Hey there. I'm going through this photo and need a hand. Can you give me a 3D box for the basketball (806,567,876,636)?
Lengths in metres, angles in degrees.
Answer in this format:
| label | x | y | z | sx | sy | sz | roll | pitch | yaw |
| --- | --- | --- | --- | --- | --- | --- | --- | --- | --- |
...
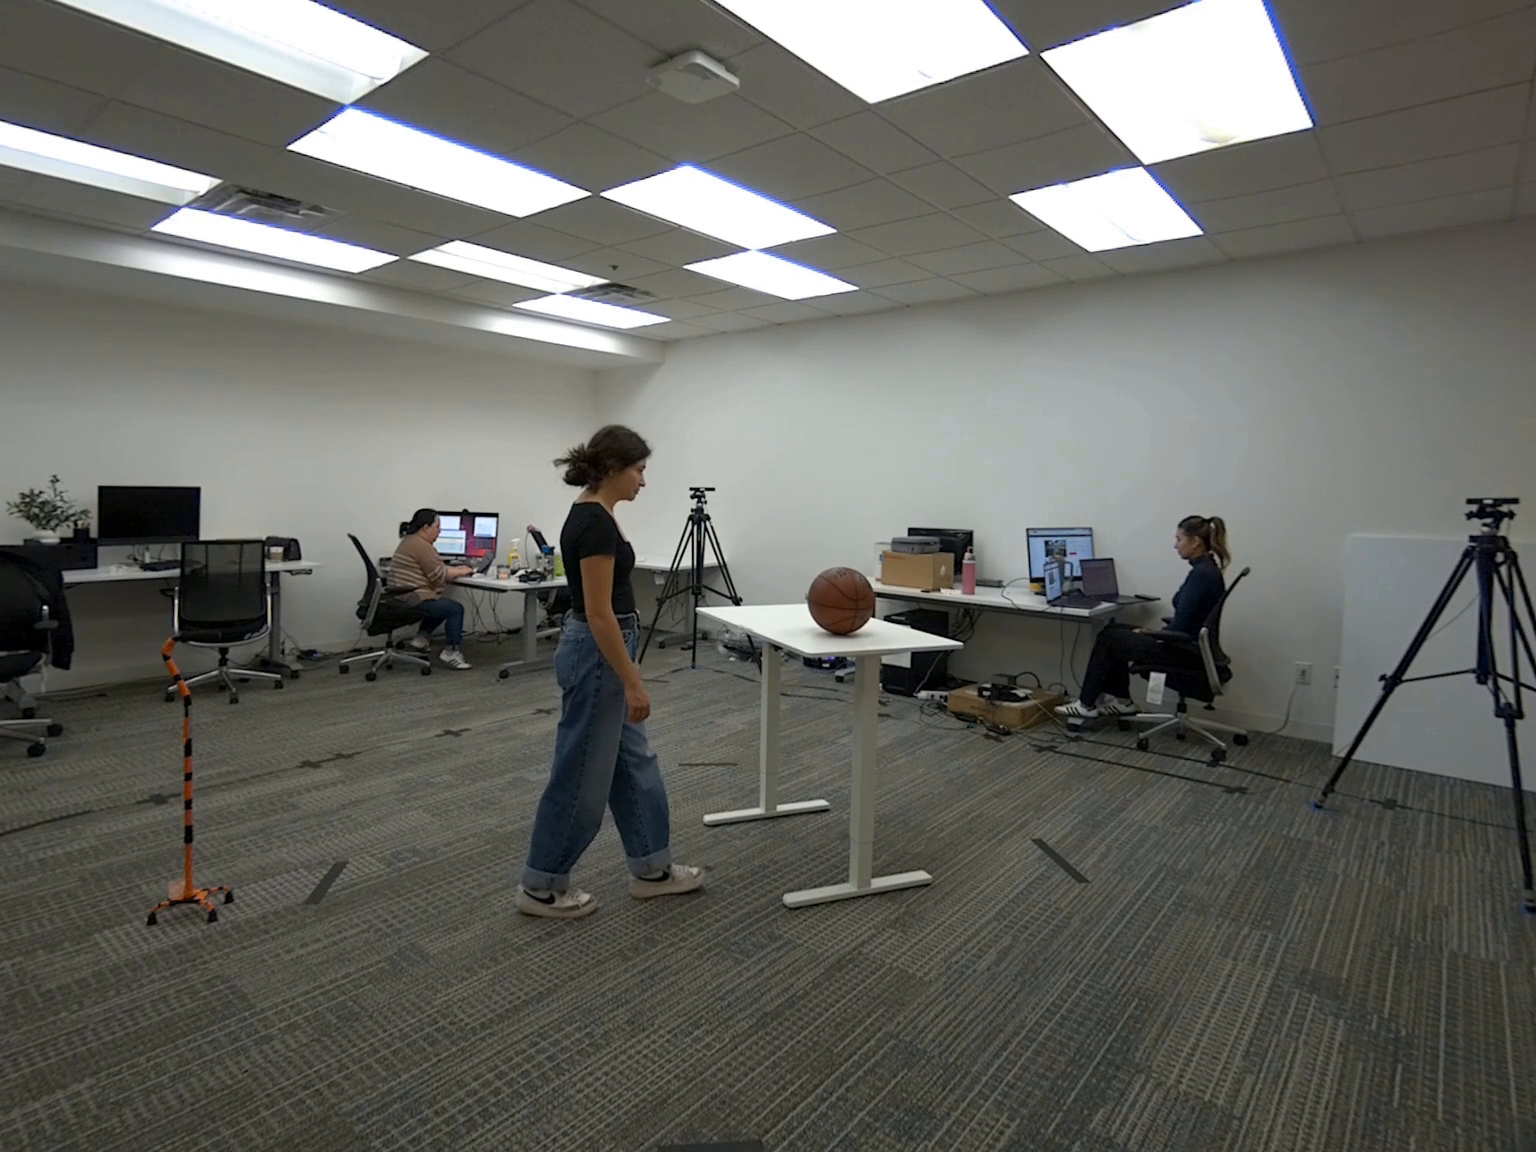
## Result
| label | x | y | z | sx | sy | sz | roll | pitch | yaw |
| --- | --- | --- | --- | --- | --- | --- | --- | --- | --- |
| basketball | 0.248 | 0.084 | 3.018 | 0.235 | 0.235 | 0.237 | 1 | 4 | -2 |
